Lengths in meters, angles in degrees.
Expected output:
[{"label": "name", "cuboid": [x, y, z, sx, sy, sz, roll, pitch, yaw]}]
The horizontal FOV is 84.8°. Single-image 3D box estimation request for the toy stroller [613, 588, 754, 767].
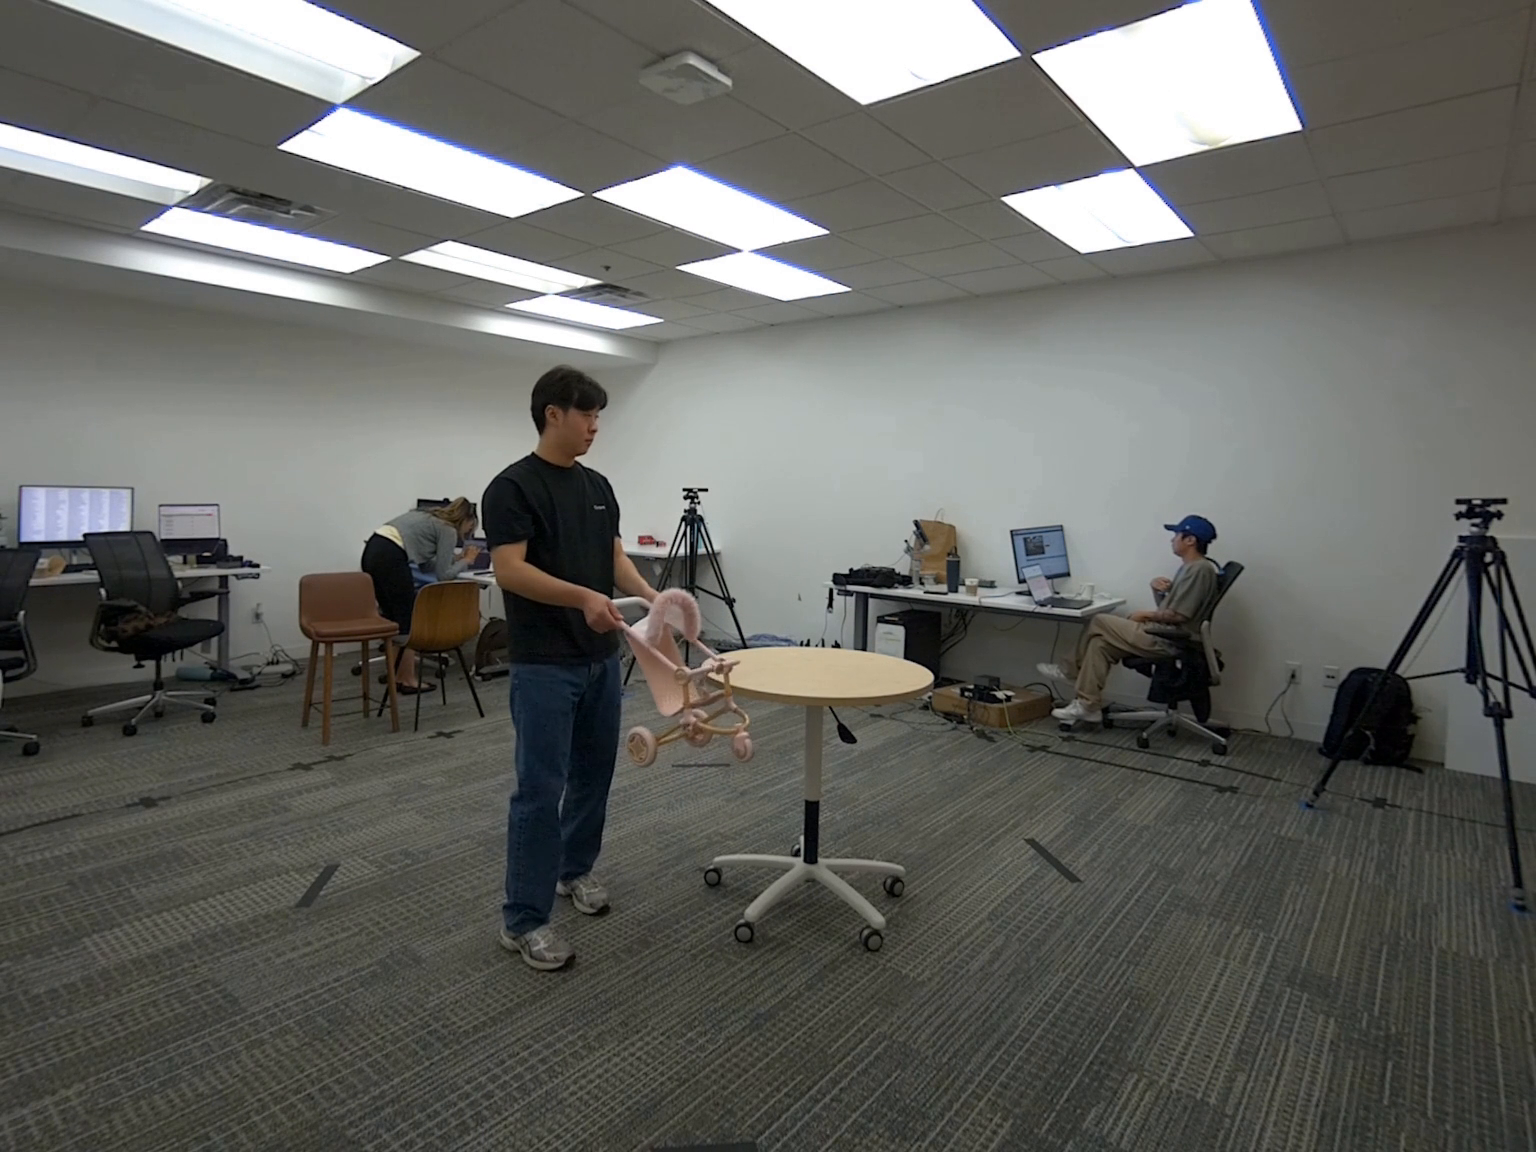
[{"label": "toy stroller", "cuboid": [-0.246, 0.273, 2.366, 0.347, 0.542, 0.273, -24, -13, 38]}]
